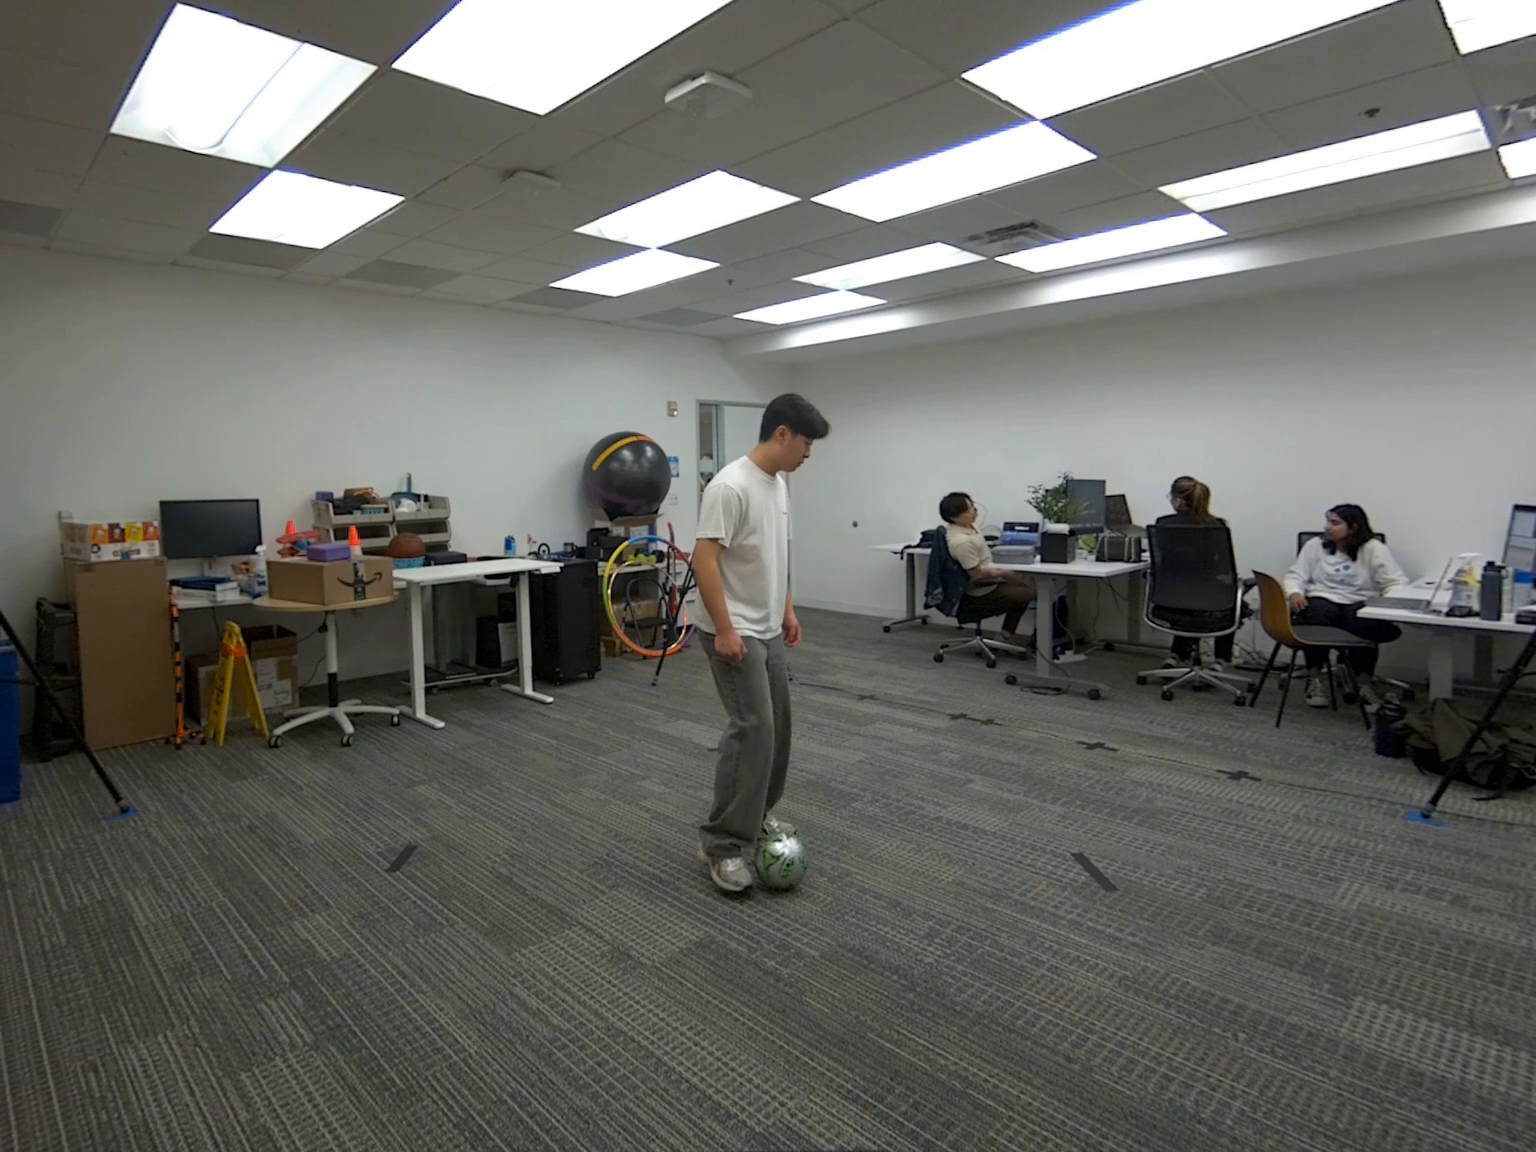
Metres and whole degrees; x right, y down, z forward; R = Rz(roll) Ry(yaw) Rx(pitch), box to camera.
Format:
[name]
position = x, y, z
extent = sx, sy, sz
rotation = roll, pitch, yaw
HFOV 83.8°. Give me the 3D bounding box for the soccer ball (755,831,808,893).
[soccer ball]
position = 0.049, 0.971, 2.920
extent = 0.187, 0.187, 0.188
rotation = -1, 5, -2
